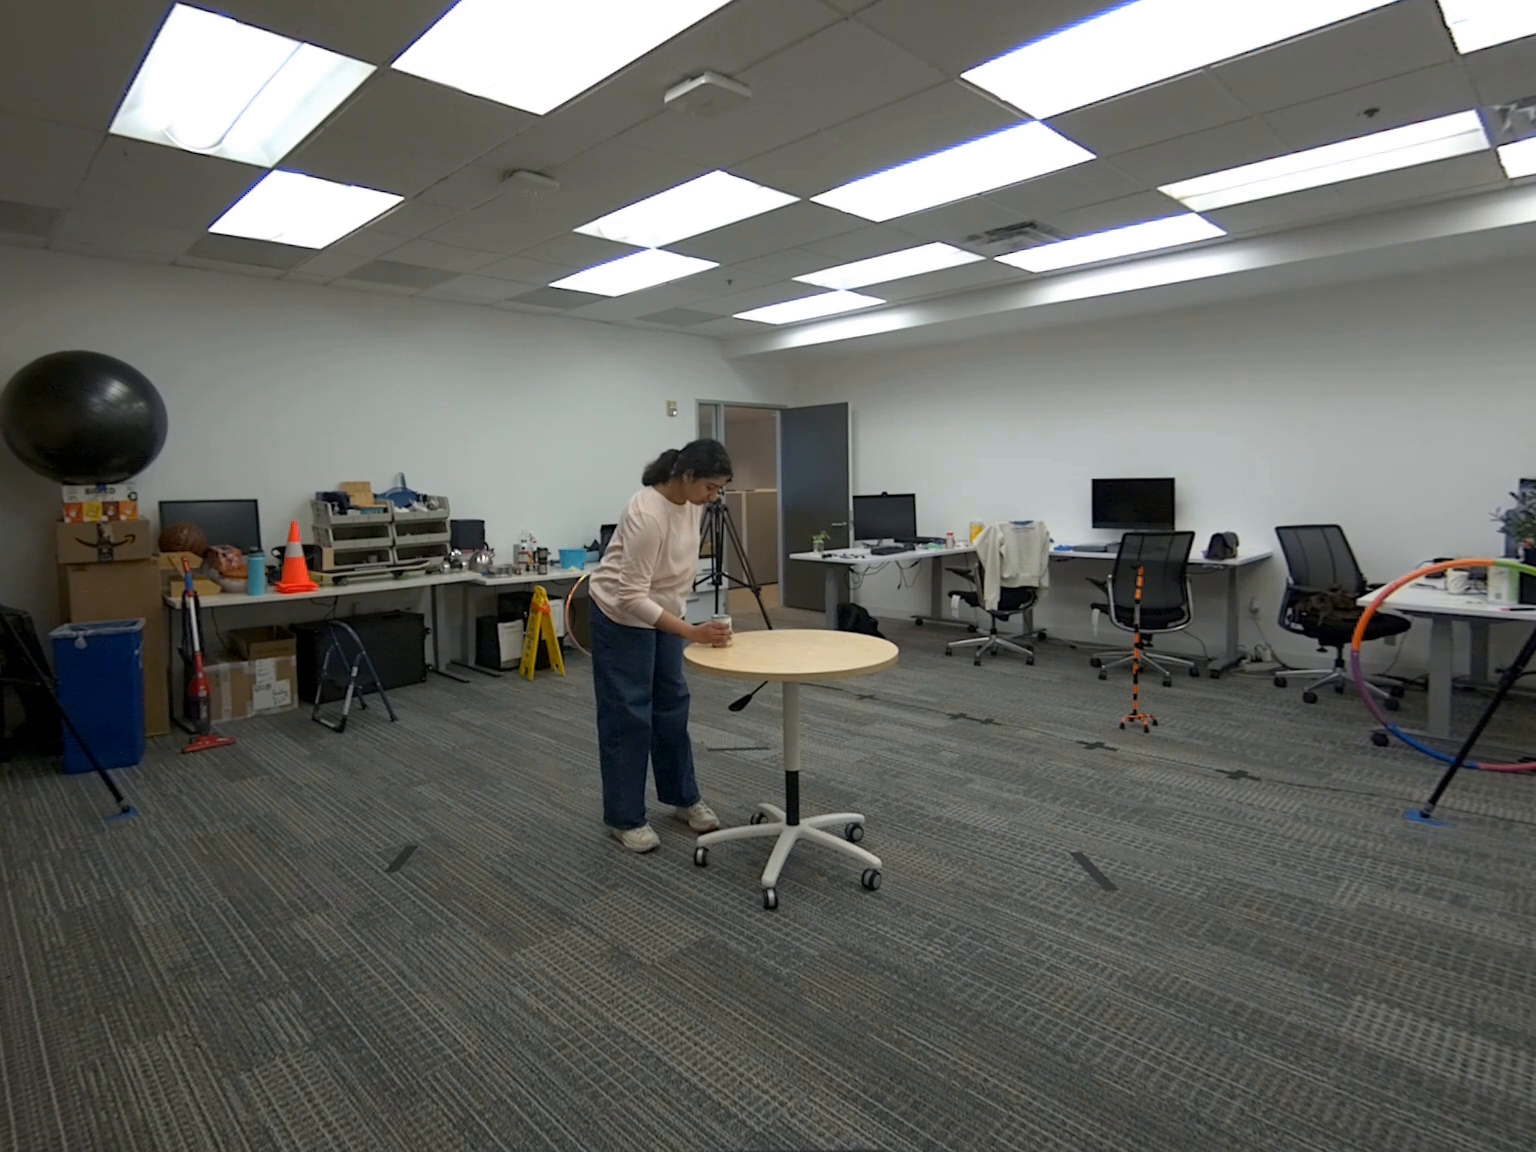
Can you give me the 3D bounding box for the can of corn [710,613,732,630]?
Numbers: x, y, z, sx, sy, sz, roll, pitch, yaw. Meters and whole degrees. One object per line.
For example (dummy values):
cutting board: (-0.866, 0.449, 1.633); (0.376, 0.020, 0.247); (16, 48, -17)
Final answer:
can of corn: (-0.166, 0.203, 3.144); (0.074, 0.110, 0.074); (-7, 5, -1)
